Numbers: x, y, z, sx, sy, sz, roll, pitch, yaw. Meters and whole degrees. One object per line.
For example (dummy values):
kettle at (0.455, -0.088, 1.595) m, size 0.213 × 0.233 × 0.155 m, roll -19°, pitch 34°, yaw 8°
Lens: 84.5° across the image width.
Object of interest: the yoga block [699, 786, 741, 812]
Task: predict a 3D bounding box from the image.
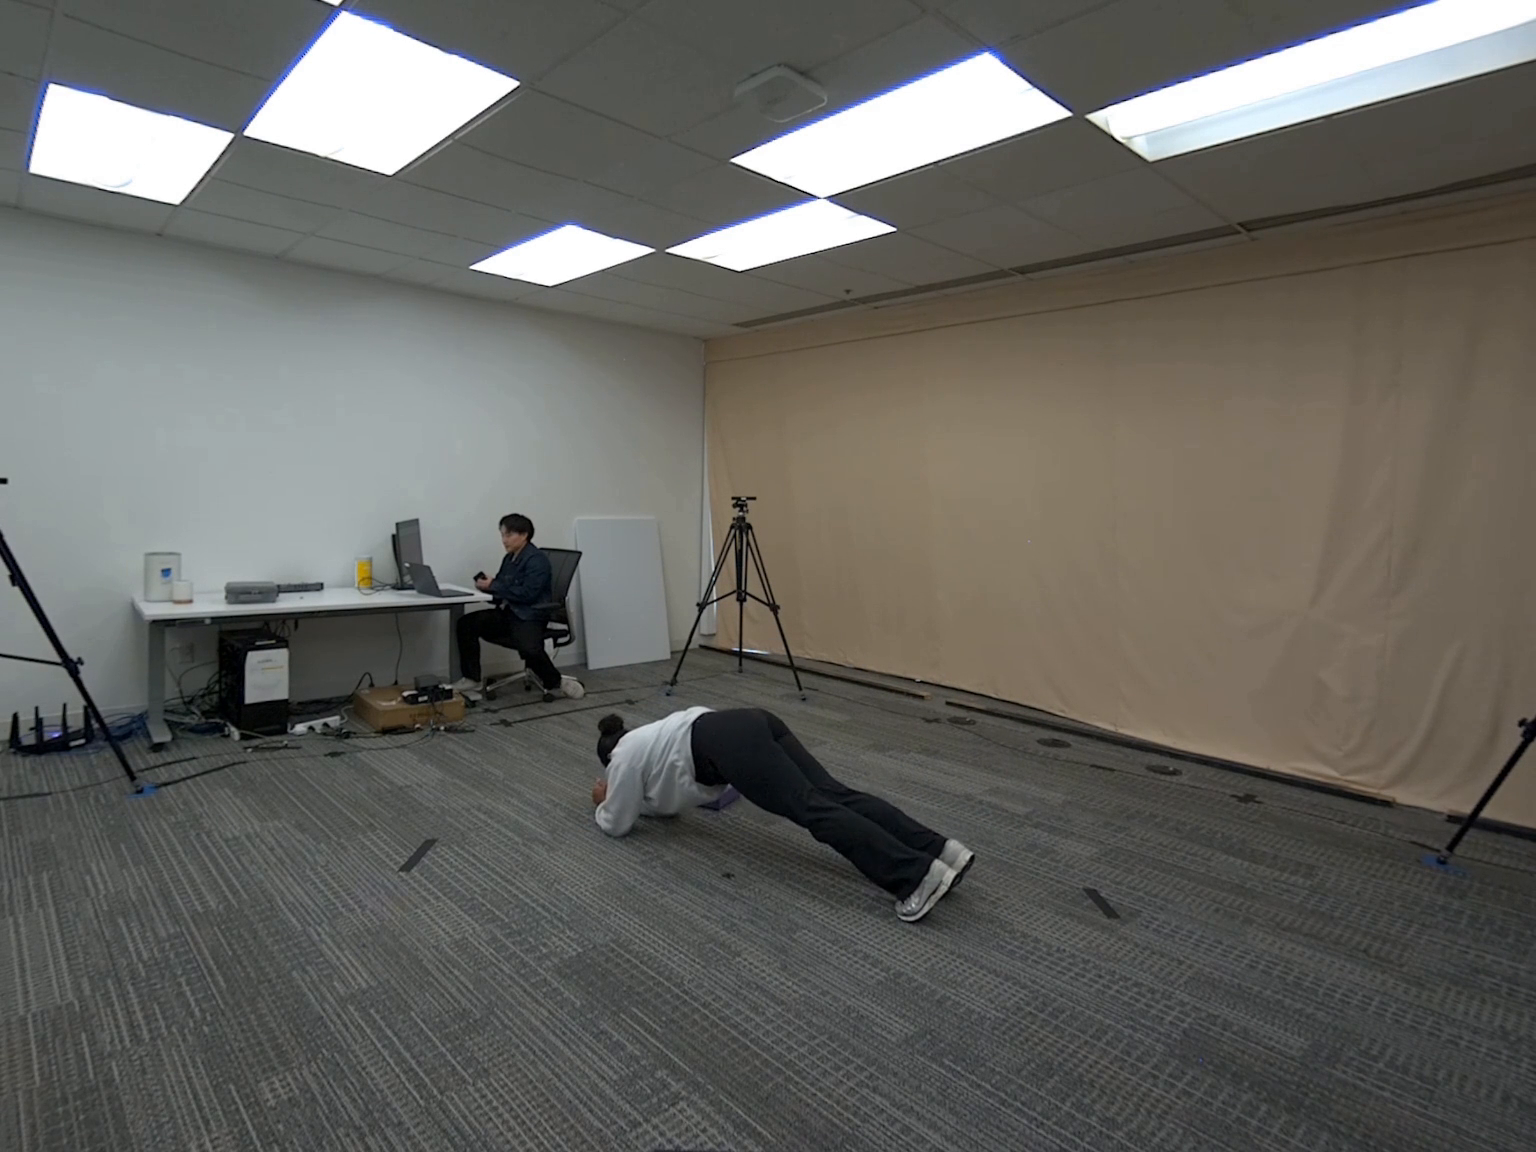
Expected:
yoga block at (-0.250, 0.999, 3.885) m, size 0.152 × 0.076 × 0.225 m, roll 3°, pitch 5°, yaw 26°
